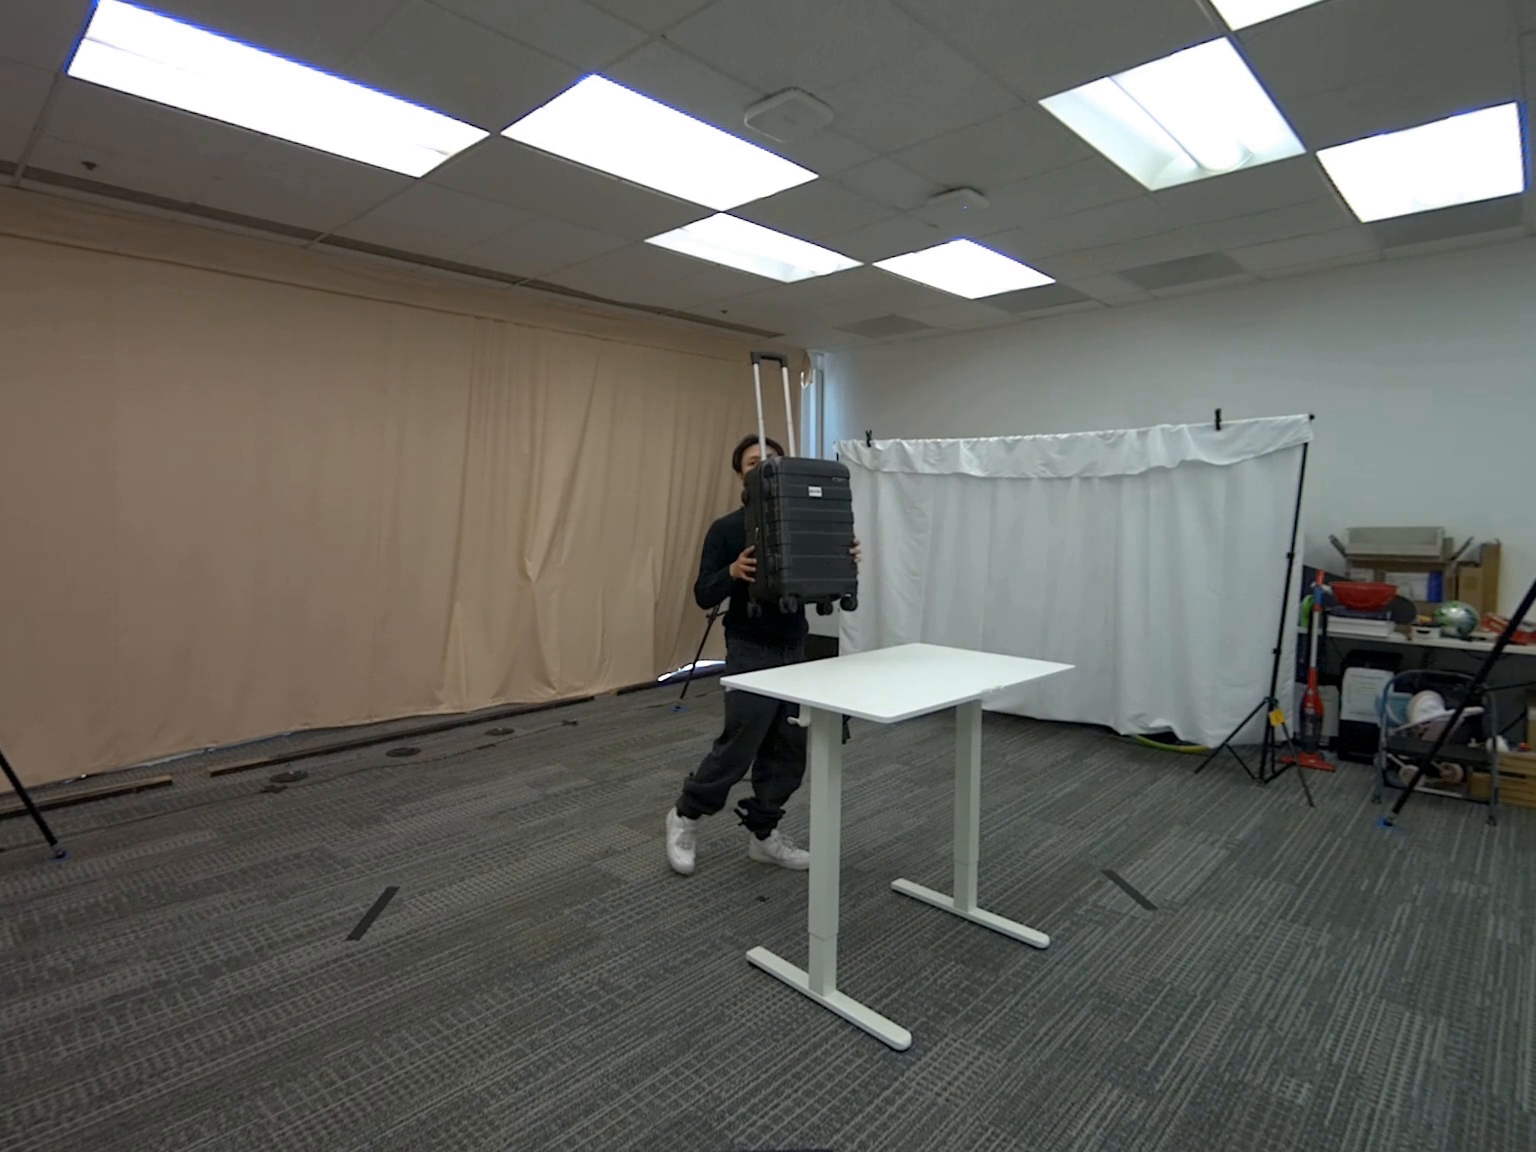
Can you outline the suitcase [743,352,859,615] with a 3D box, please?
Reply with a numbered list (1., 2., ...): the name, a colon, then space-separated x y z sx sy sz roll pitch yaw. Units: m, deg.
1. suitcase: 0.107 -0.347 2.996 0.373 0.982 0.263 1 -7 -32
